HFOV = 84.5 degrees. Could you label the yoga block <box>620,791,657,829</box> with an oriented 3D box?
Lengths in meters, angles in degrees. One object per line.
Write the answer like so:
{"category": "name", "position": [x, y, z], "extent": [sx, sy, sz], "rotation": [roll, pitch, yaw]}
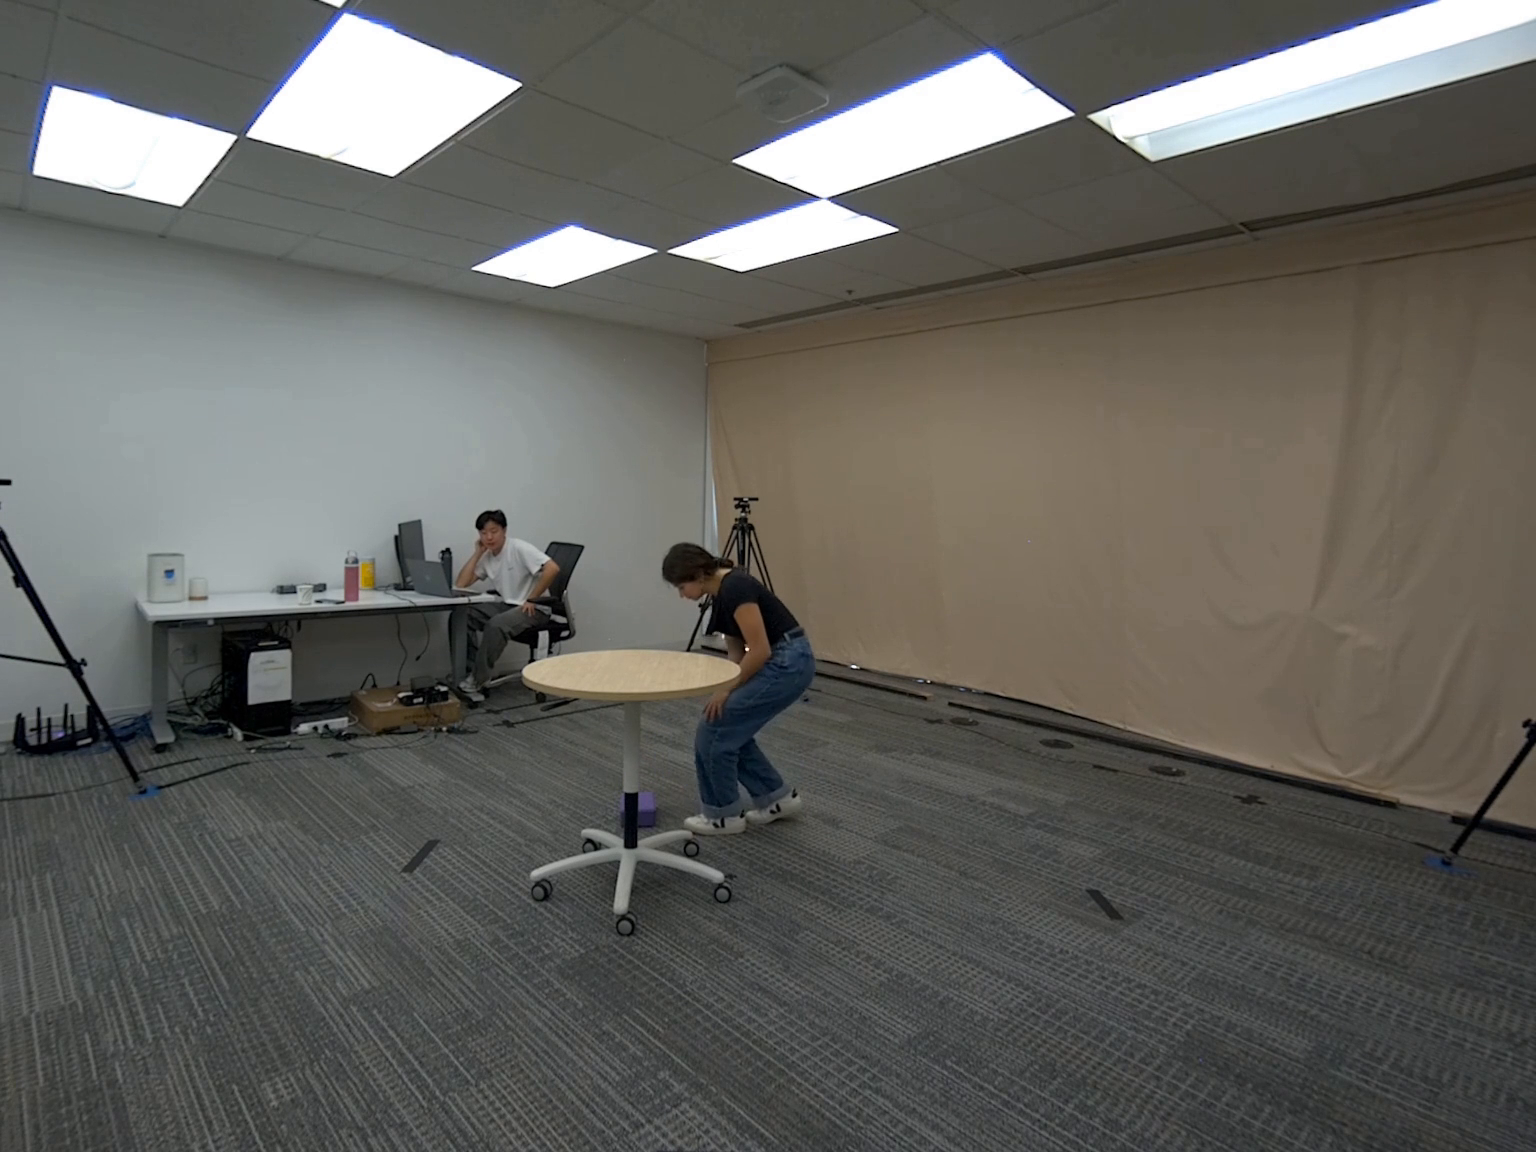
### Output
{"category": "yoga block", "position": [-0.572, 1.007, 3.659], "extent": [0.148, 0.076, 0.232], "rotation": [1, 7, -8]}
